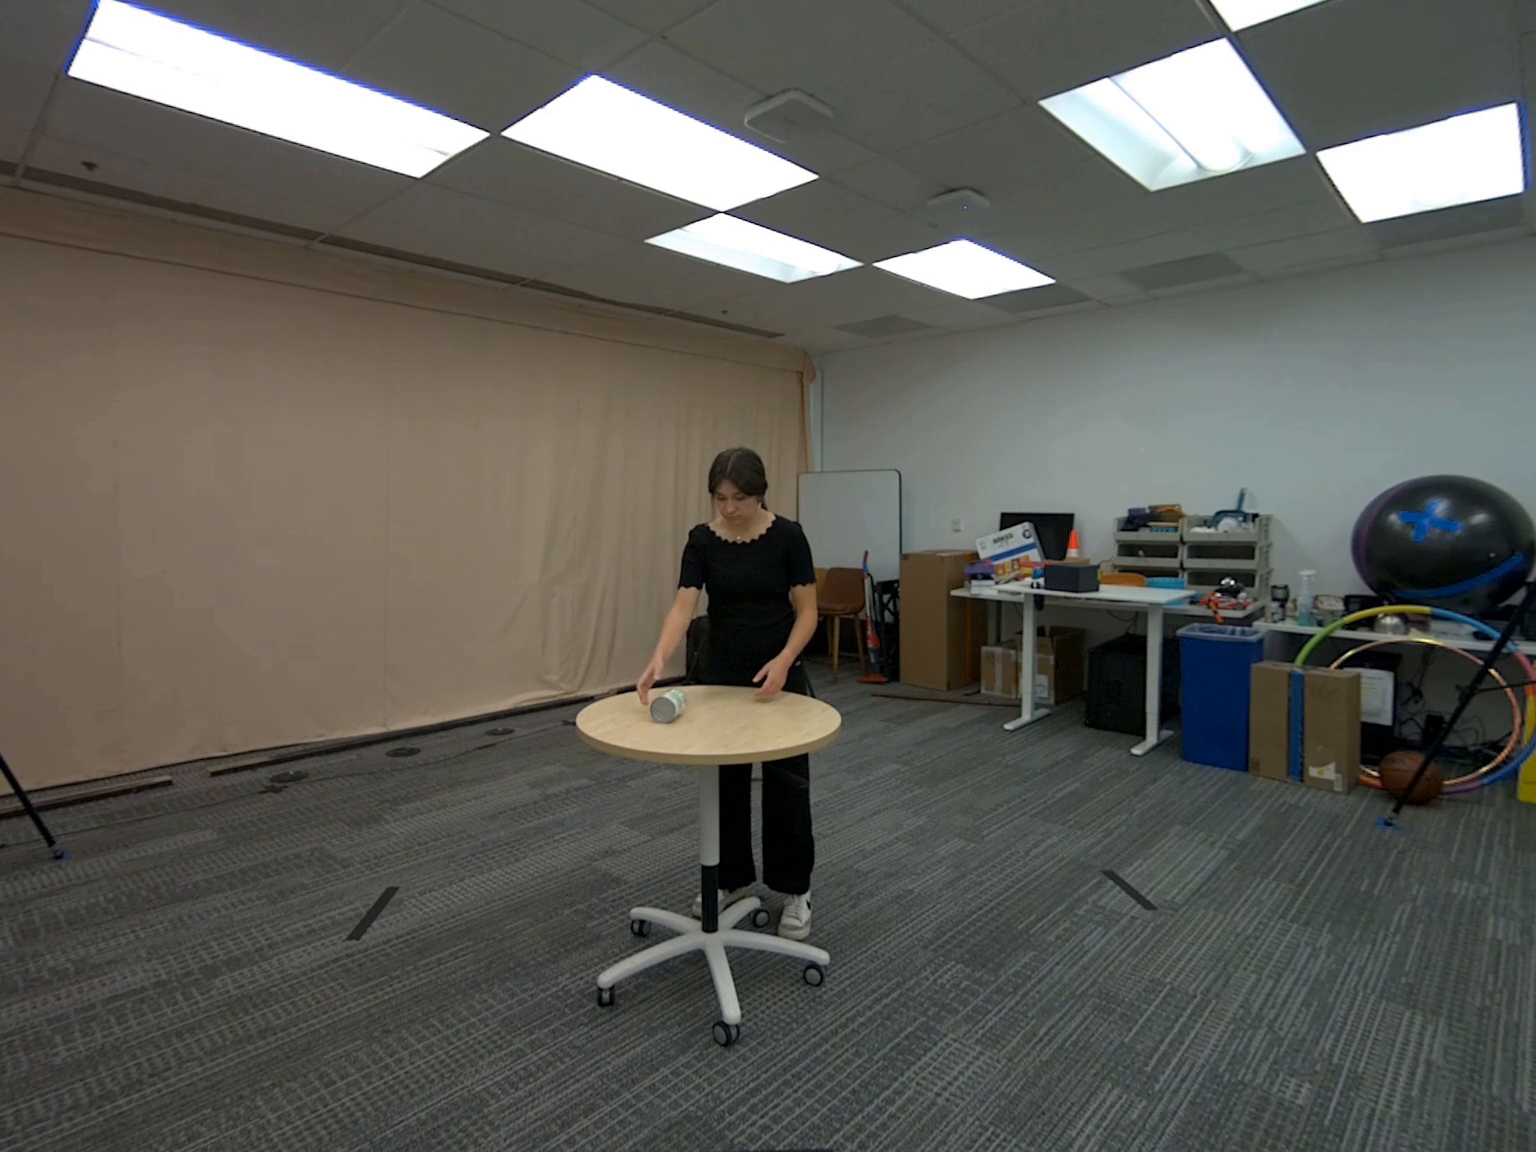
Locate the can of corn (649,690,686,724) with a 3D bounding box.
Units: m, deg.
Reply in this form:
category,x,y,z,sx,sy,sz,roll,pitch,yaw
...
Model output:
category,x,y,z,sx,sy,sz,roll,pitch,yaw
can of corn,-0.279,0.371,2.397,0.075,0.074,0.109,1,2,14
